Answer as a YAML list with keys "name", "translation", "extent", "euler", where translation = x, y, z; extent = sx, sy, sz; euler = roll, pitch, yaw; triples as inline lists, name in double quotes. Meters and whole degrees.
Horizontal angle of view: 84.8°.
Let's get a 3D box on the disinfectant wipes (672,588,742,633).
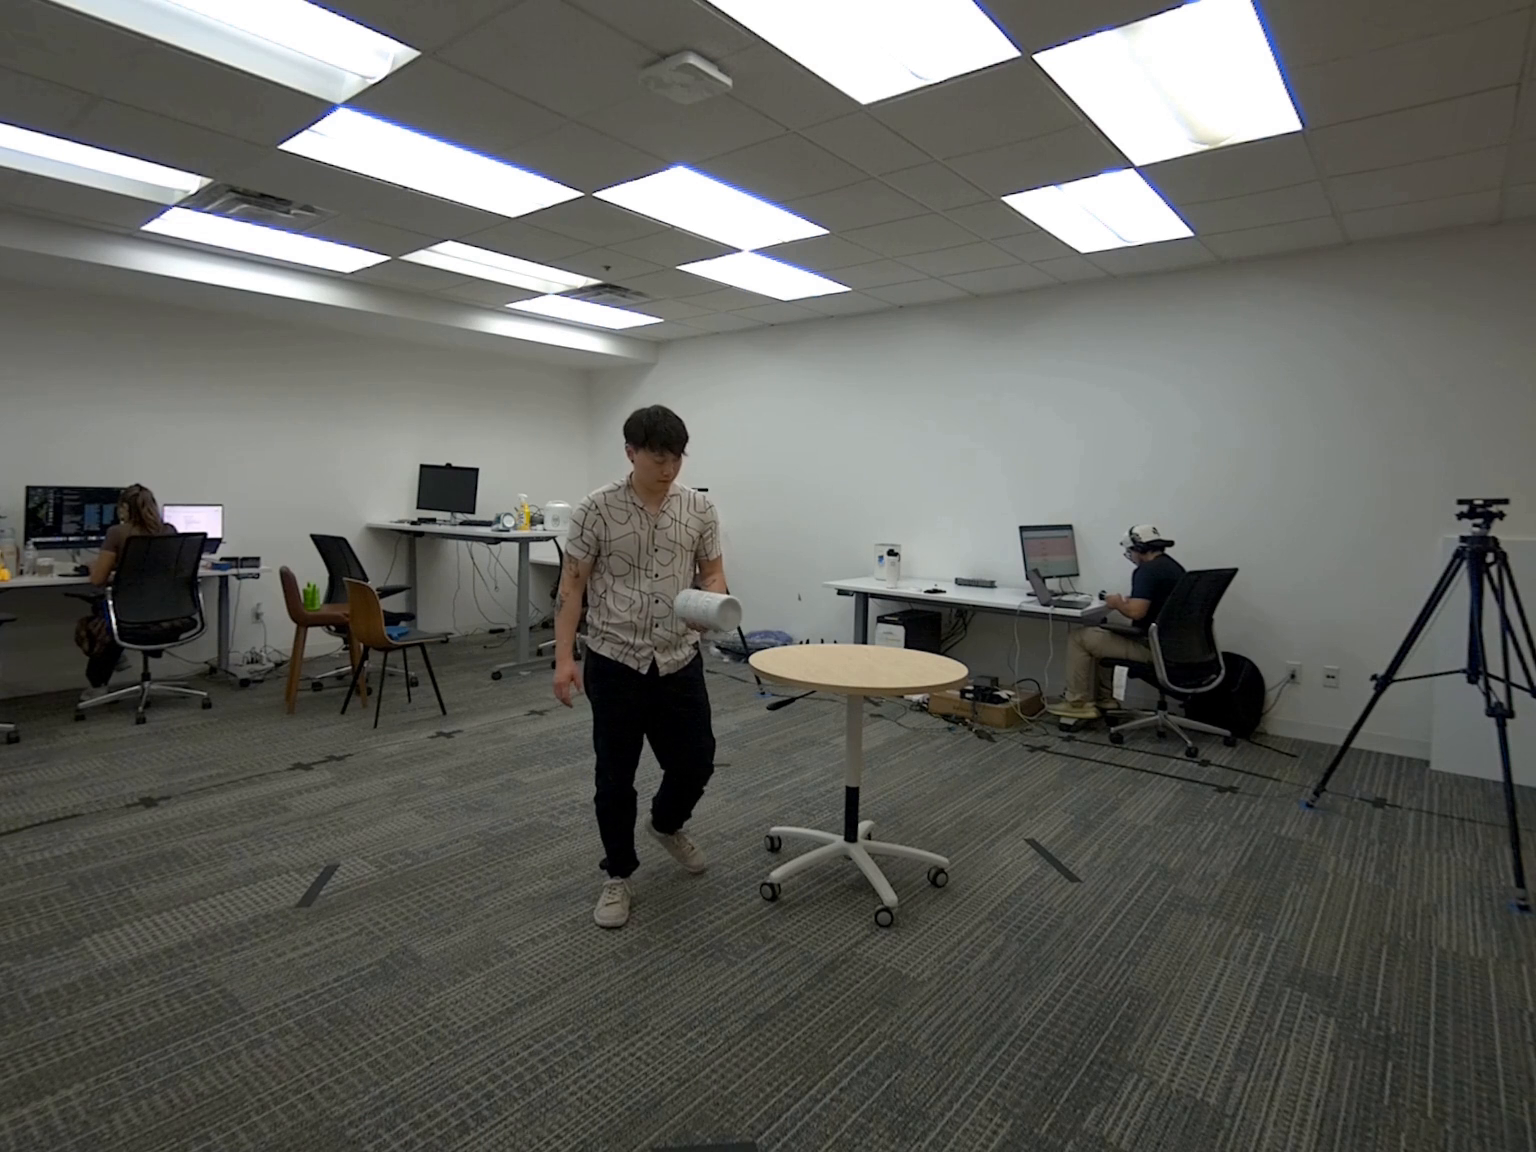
- name: "disinfectant wipes"
  translation: [-0.192, 0.102, 2.605]
  extent: [0.114, 0.117, 0.225]
  euler: [-2, 5, -40]
